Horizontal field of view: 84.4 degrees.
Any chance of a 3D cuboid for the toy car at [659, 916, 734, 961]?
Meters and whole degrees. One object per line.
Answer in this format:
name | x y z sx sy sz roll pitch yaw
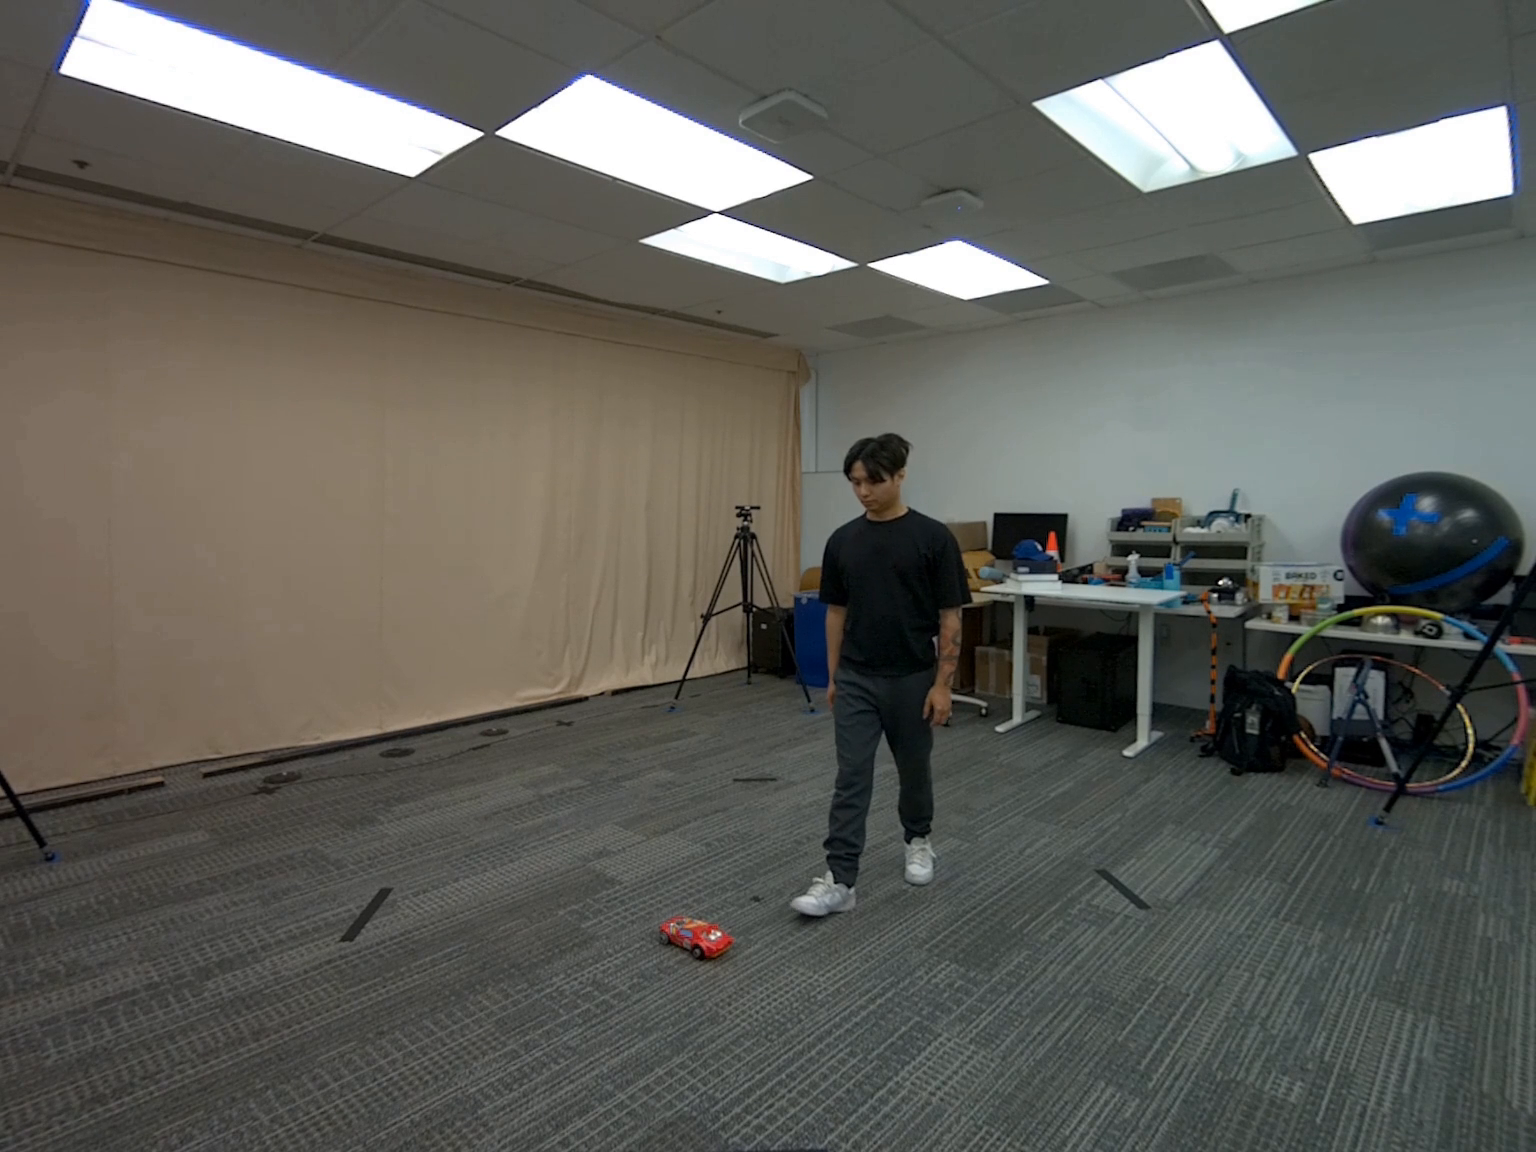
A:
toy car | -0.221 1.141 2.652 0.262 0.083 0.126 -10 -3 39
